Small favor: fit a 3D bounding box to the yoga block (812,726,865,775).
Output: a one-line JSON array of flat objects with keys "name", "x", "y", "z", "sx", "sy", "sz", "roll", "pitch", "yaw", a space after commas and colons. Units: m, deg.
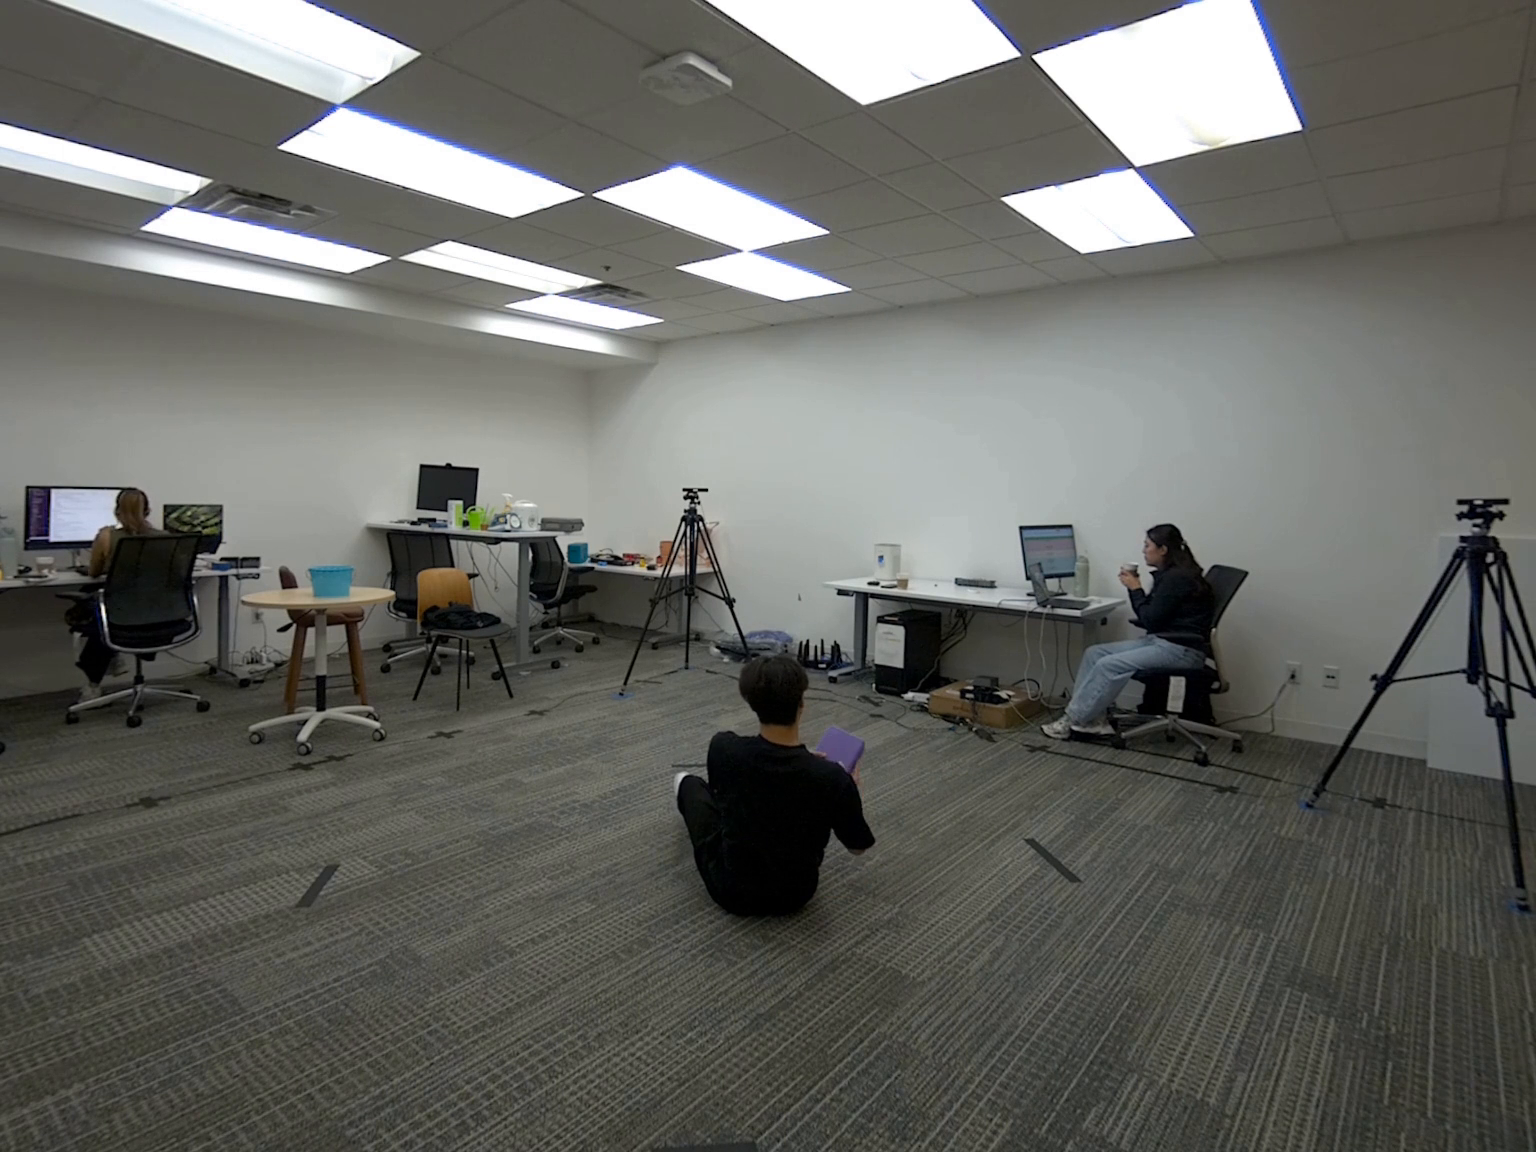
[{"name": "yoga block", "x": 0.232, "y": 0.671, "z": 3.096, "sx": 0.153, "sy": 0.074, "sz": 0.229, "roll": 22, "pitch": 51, "yaw": 23}]
